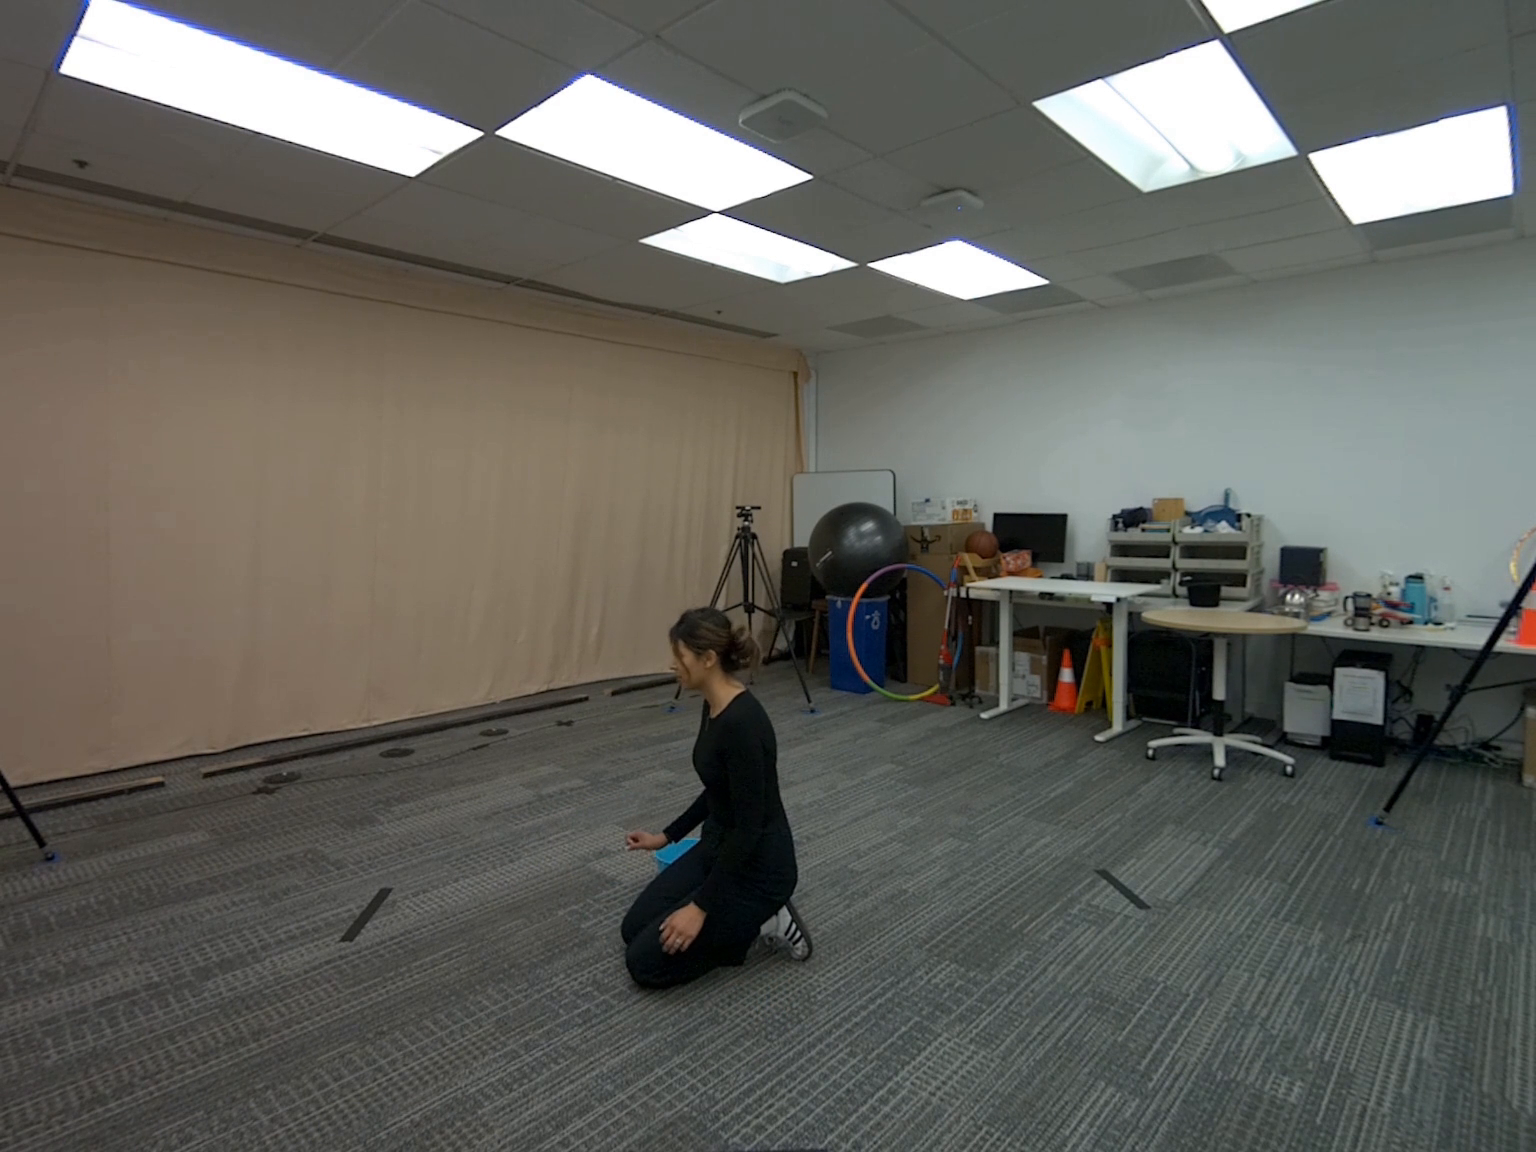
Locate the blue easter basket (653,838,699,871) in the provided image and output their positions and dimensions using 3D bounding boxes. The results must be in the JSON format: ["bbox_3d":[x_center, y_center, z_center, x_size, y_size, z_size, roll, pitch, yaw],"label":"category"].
[{"bbox_3d":[-0.285,1.064,3.035,0.243,0.155,0.244,0,4,-2],"label":"blue easter basket"}]
